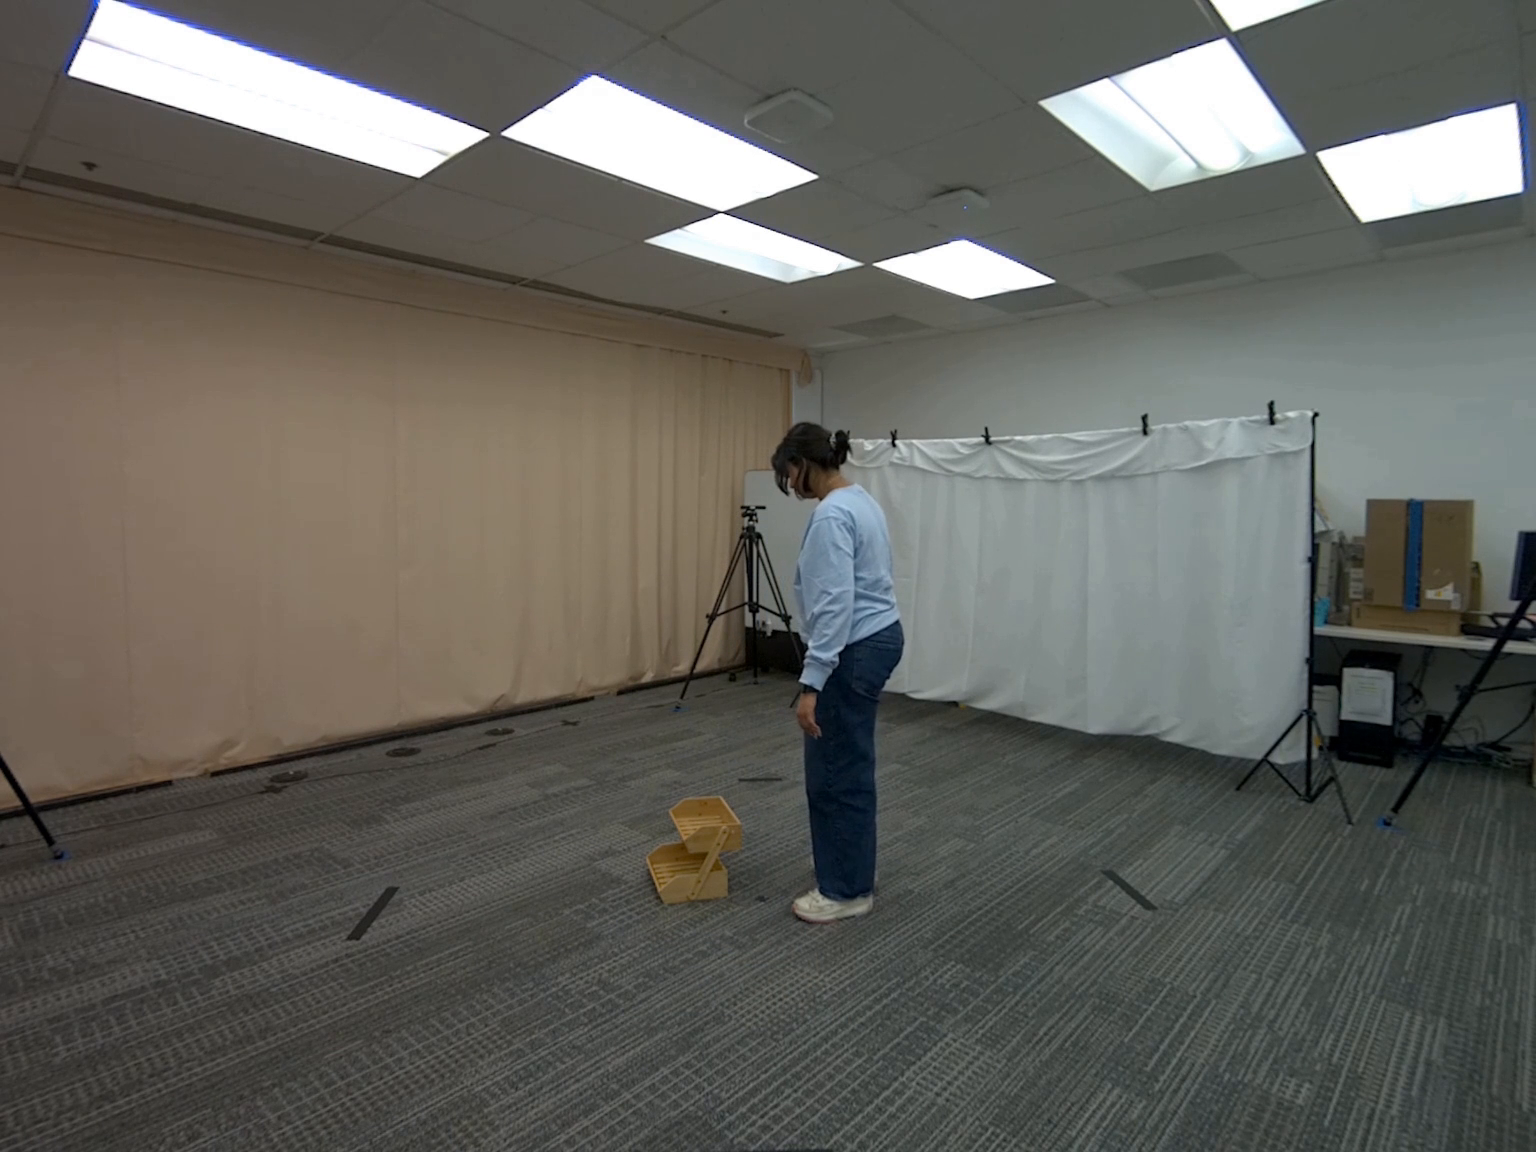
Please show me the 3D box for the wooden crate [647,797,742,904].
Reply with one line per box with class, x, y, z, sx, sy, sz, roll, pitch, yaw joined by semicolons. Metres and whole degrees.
wooden crate;-0.283;1.000;3.118;0.297;0.273;0.330;-1;4;-16
